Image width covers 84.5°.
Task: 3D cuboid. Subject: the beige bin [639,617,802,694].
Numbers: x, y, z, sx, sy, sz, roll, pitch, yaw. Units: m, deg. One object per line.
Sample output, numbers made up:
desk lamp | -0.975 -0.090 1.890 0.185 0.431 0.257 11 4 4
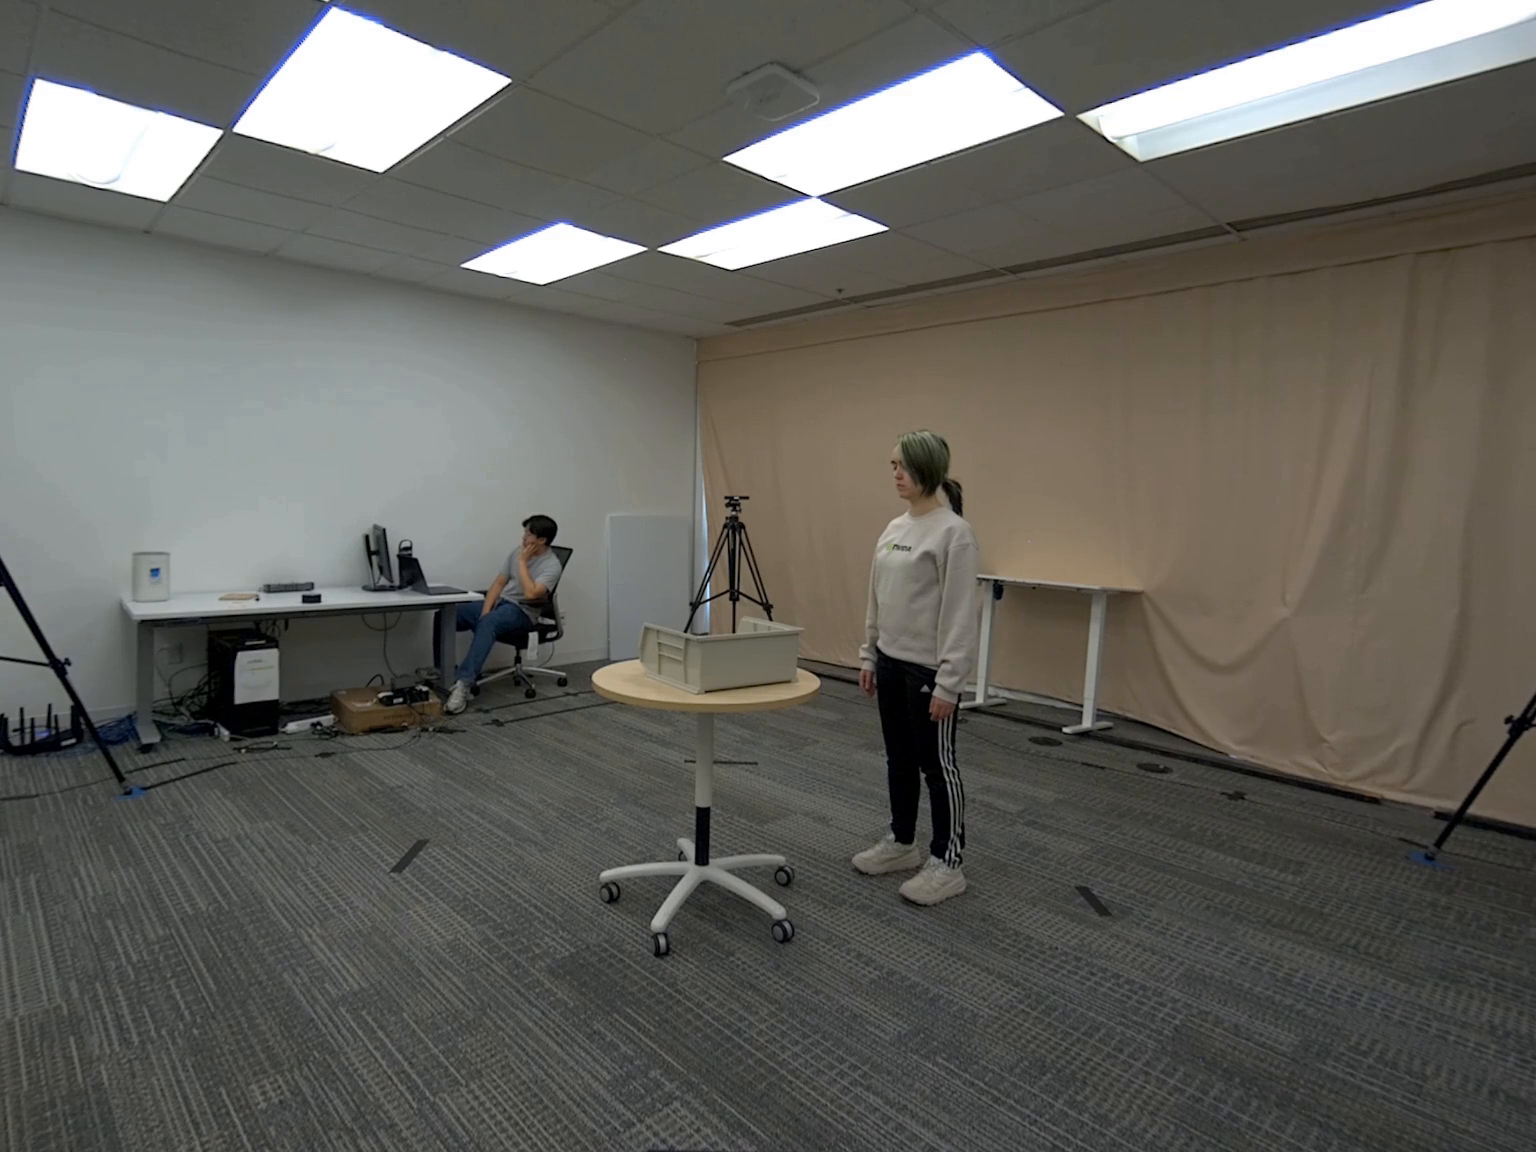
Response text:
beige bin | -0.168 0.257 2.825 0.413 0.188 0.387 -1 6 -37
